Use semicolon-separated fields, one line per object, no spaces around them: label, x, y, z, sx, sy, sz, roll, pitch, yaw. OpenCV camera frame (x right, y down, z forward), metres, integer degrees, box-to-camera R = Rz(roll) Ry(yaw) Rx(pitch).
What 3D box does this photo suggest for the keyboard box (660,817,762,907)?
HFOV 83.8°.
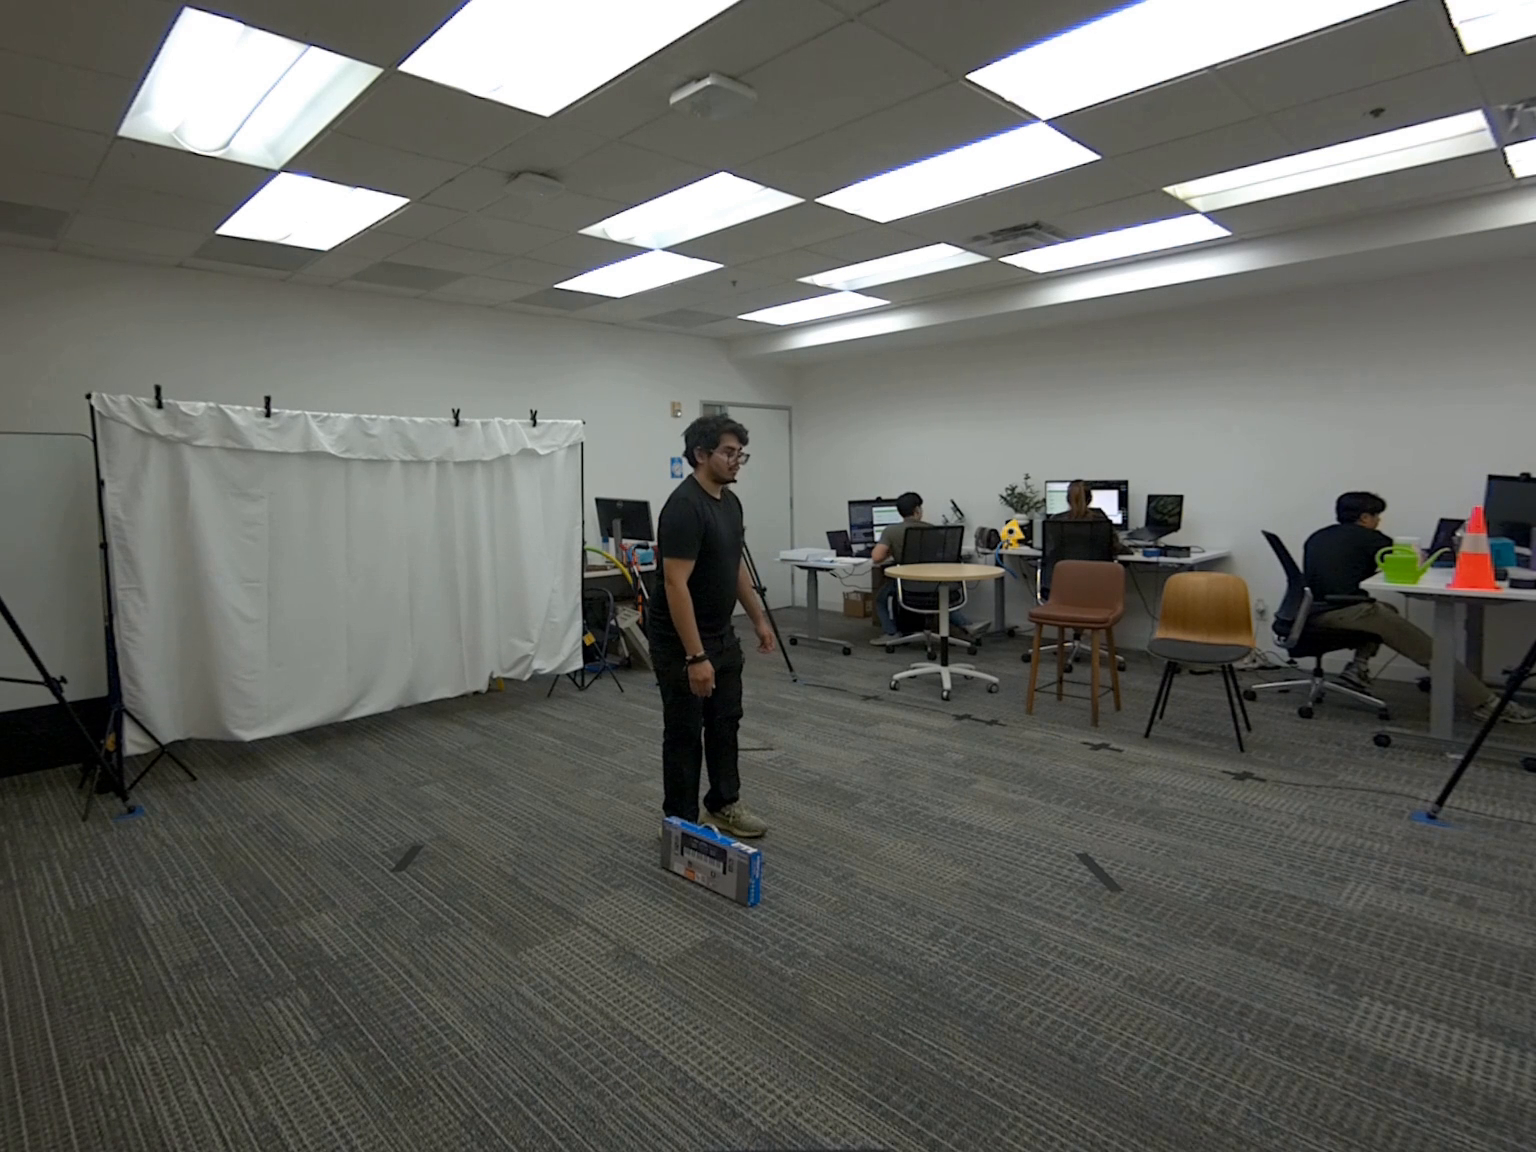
keyboard box;-0.206;0.984;2.957;0.450;0.176;0.057;5;2;43
